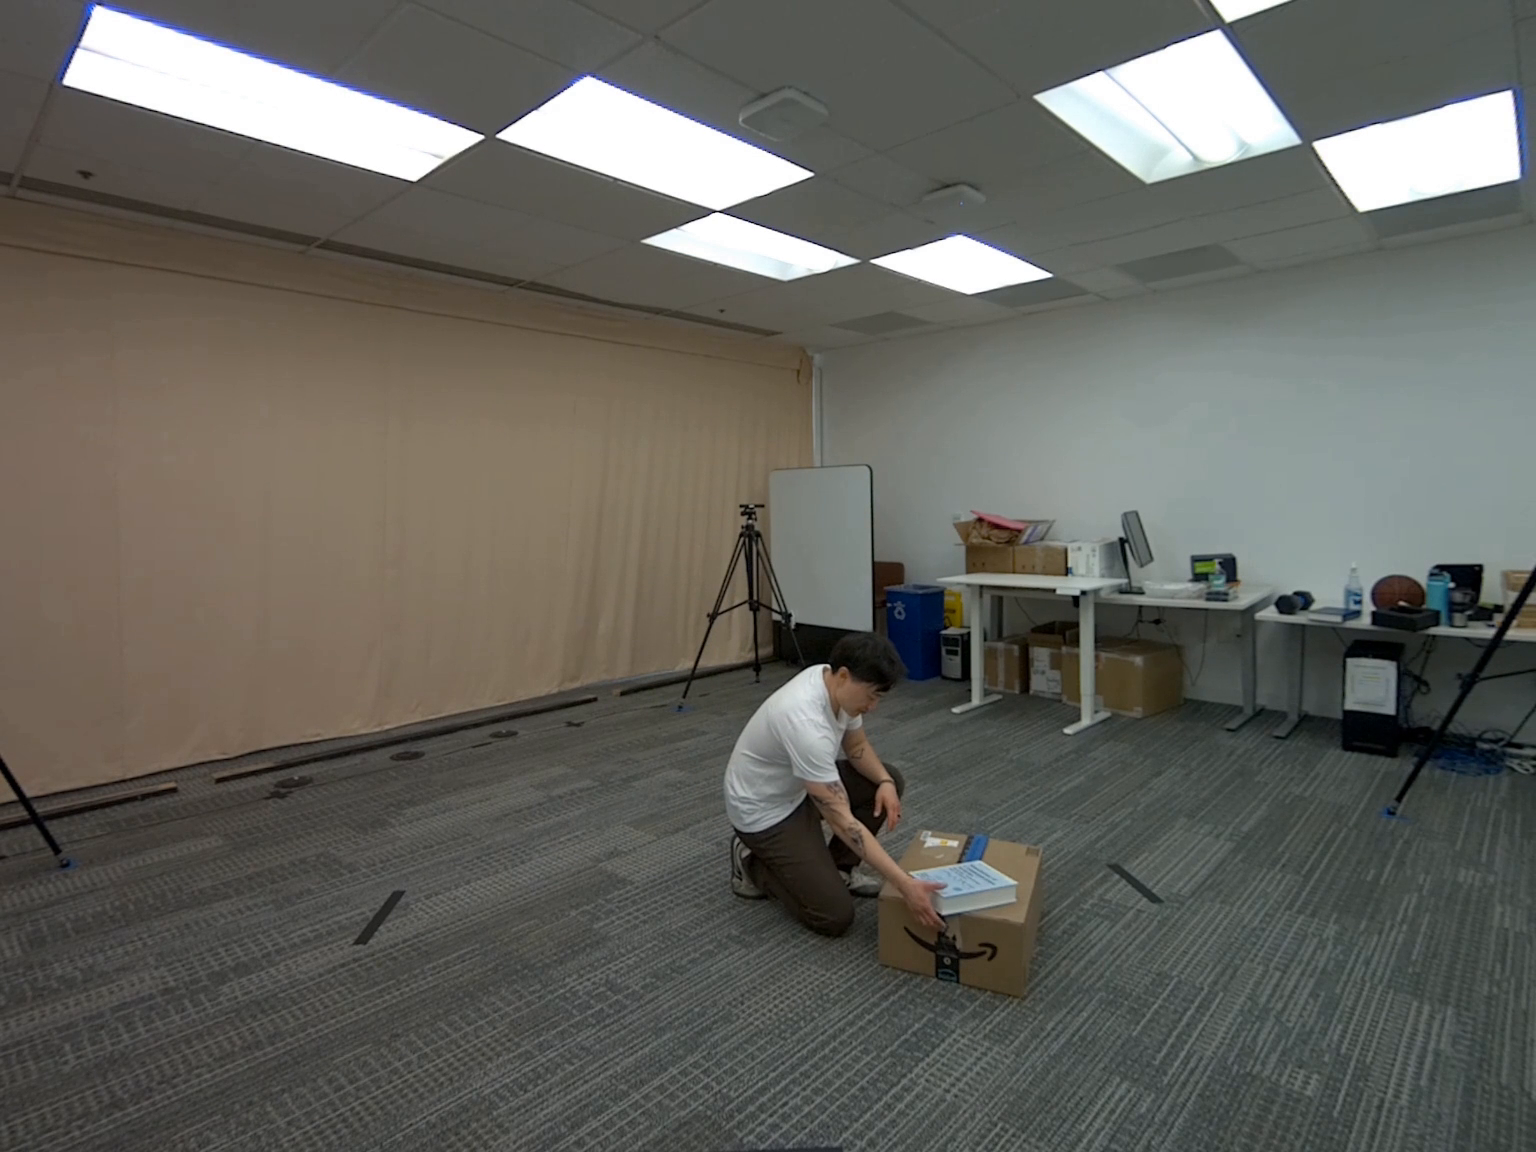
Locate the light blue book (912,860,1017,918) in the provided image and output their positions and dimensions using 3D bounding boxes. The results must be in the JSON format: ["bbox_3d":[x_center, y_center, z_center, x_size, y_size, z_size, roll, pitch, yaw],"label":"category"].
[{"bbox_3d":[0.586,0.929,2.513,0.255,0.059,0.196,-2,4,-22],"label":"light blue book"}]
